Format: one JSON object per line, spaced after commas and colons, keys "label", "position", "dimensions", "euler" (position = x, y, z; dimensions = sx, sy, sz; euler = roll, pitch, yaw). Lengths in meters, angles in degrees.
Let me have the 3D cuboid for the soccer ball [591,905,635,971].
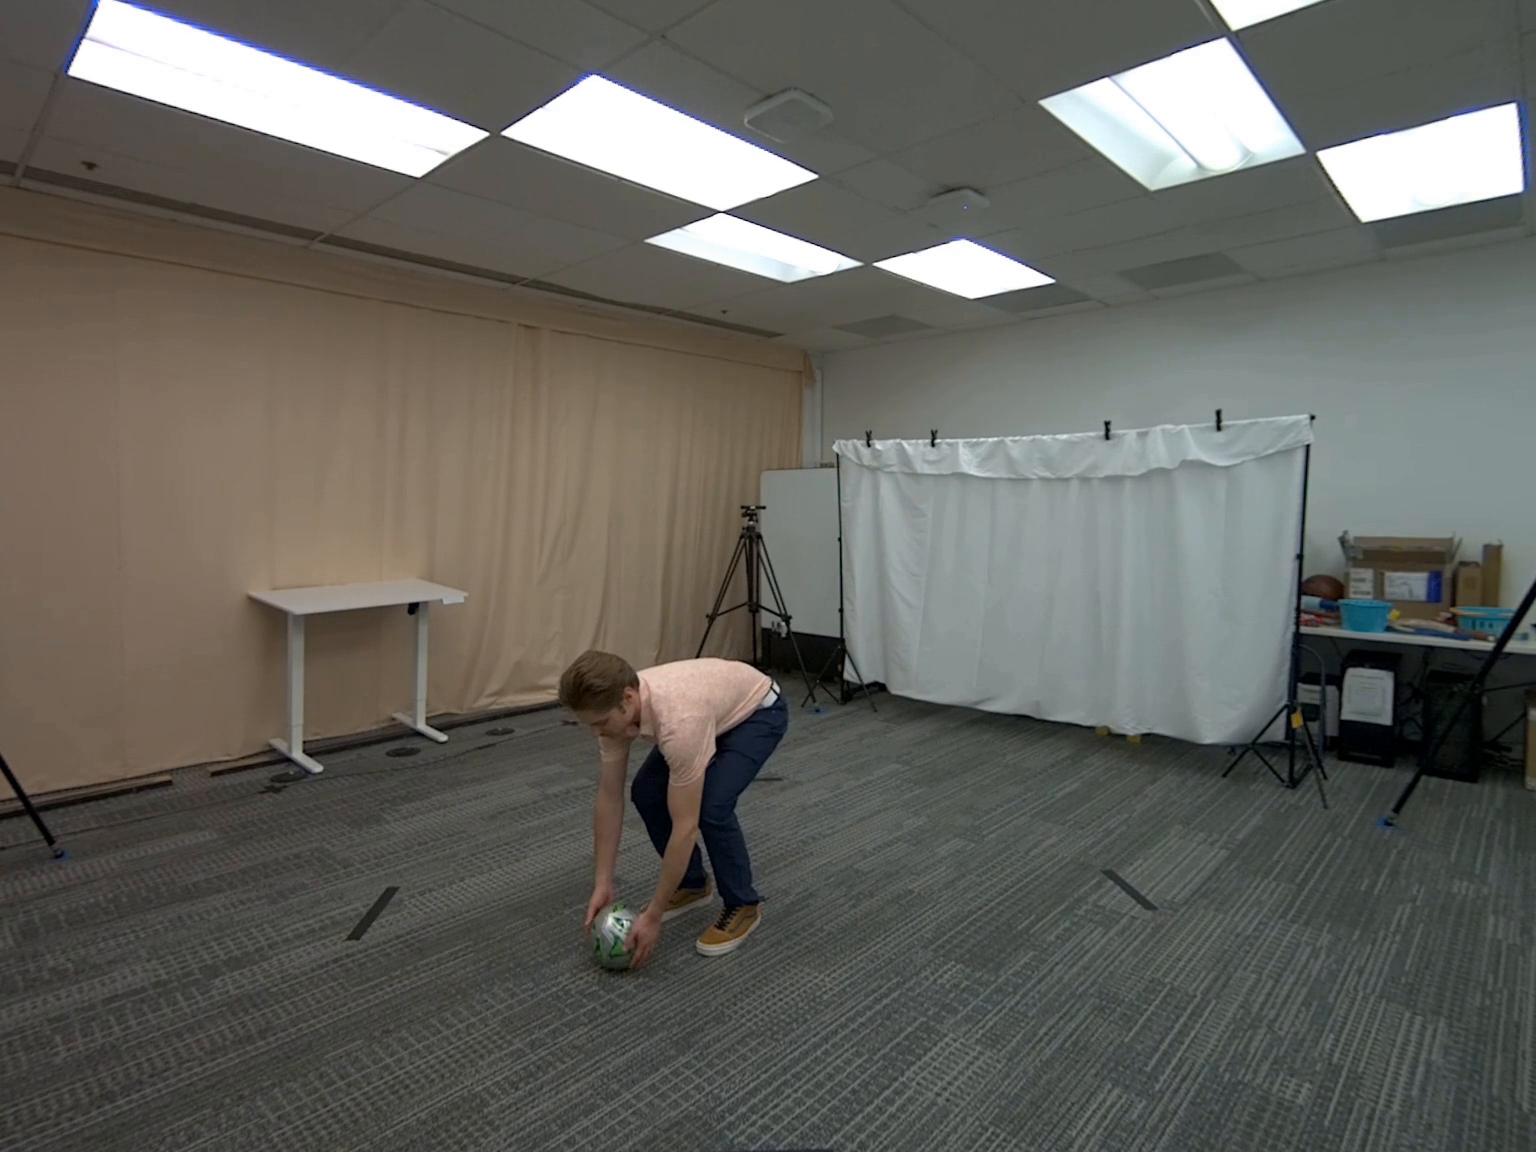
{"label": "soccer ball", "position": [-0.441, 1.084, 2.558], "dimensions": [0.187, 0.187, 0.188], "euler": [0, 4, -2]}
